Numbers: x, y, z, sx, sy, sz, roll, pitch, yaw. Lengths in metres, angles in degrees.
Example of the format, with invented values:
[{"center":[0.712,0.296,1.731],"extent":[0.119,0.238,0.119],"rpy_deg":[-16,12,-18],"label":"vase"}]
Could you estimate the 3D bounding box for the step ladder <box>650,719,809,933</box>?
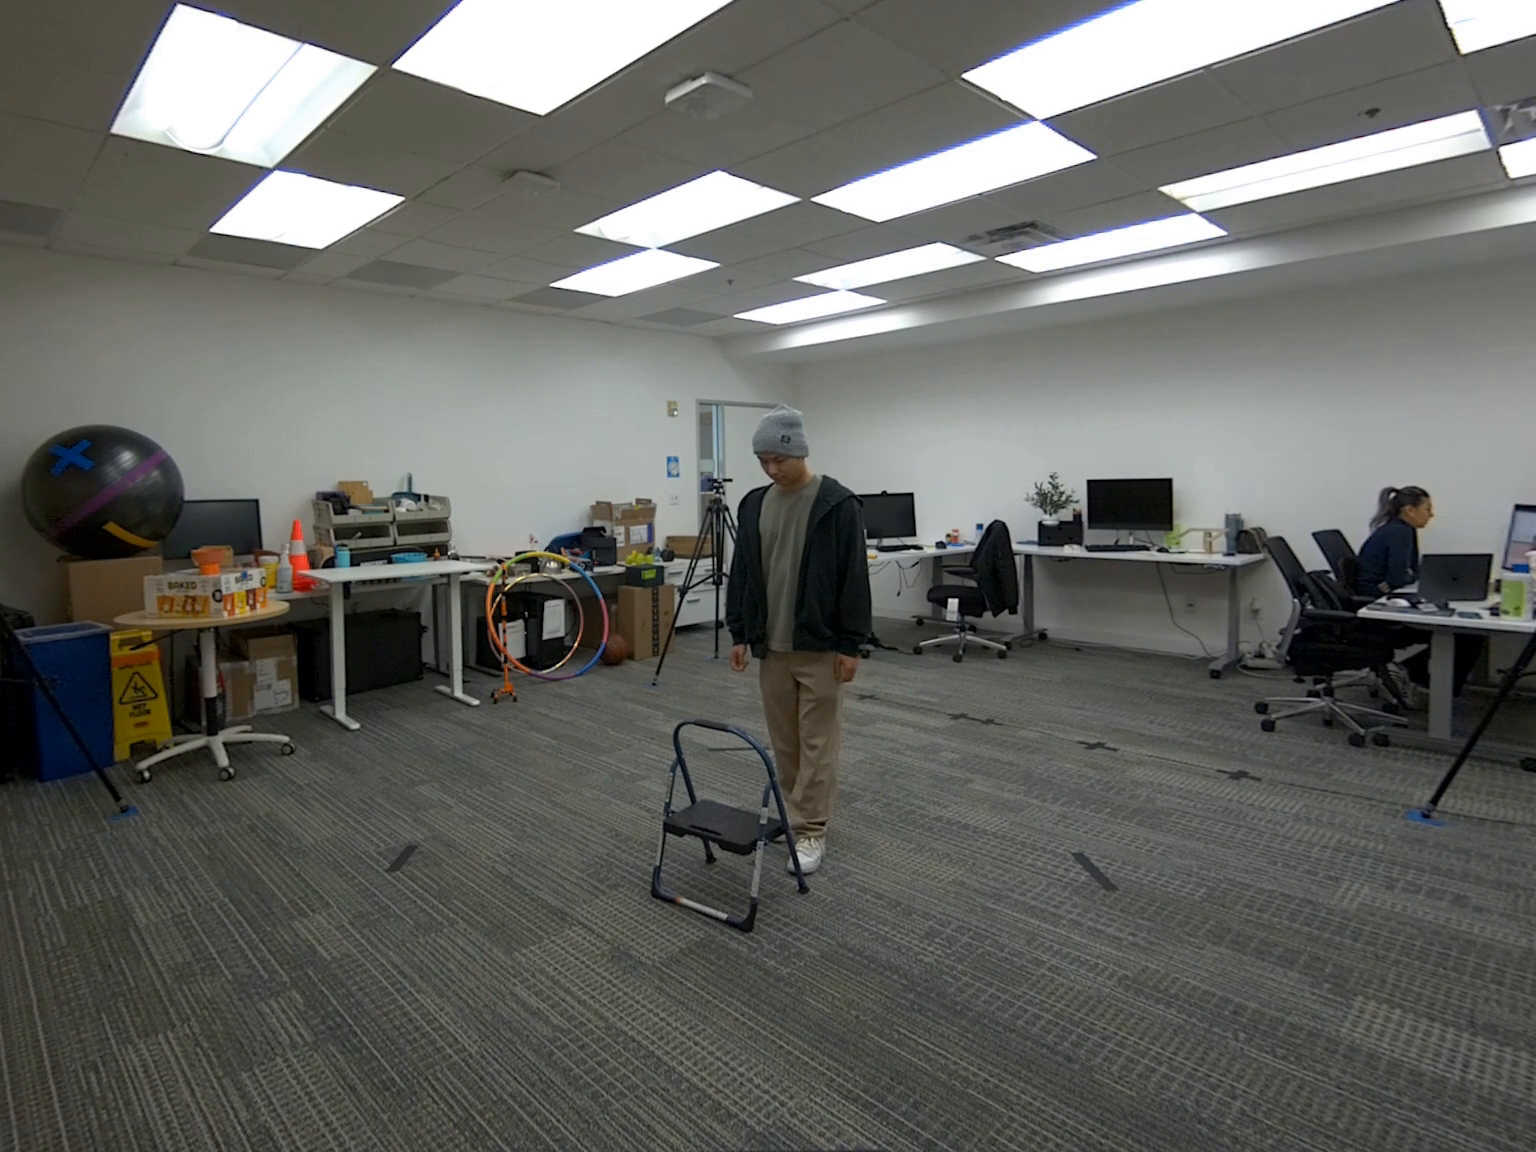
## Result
[{"center":[-0.135,0.770,2.866],"extent":[0.443,0.604,0.341],"rpy_deg":[2,5,35],"label":"step ladder"}]
